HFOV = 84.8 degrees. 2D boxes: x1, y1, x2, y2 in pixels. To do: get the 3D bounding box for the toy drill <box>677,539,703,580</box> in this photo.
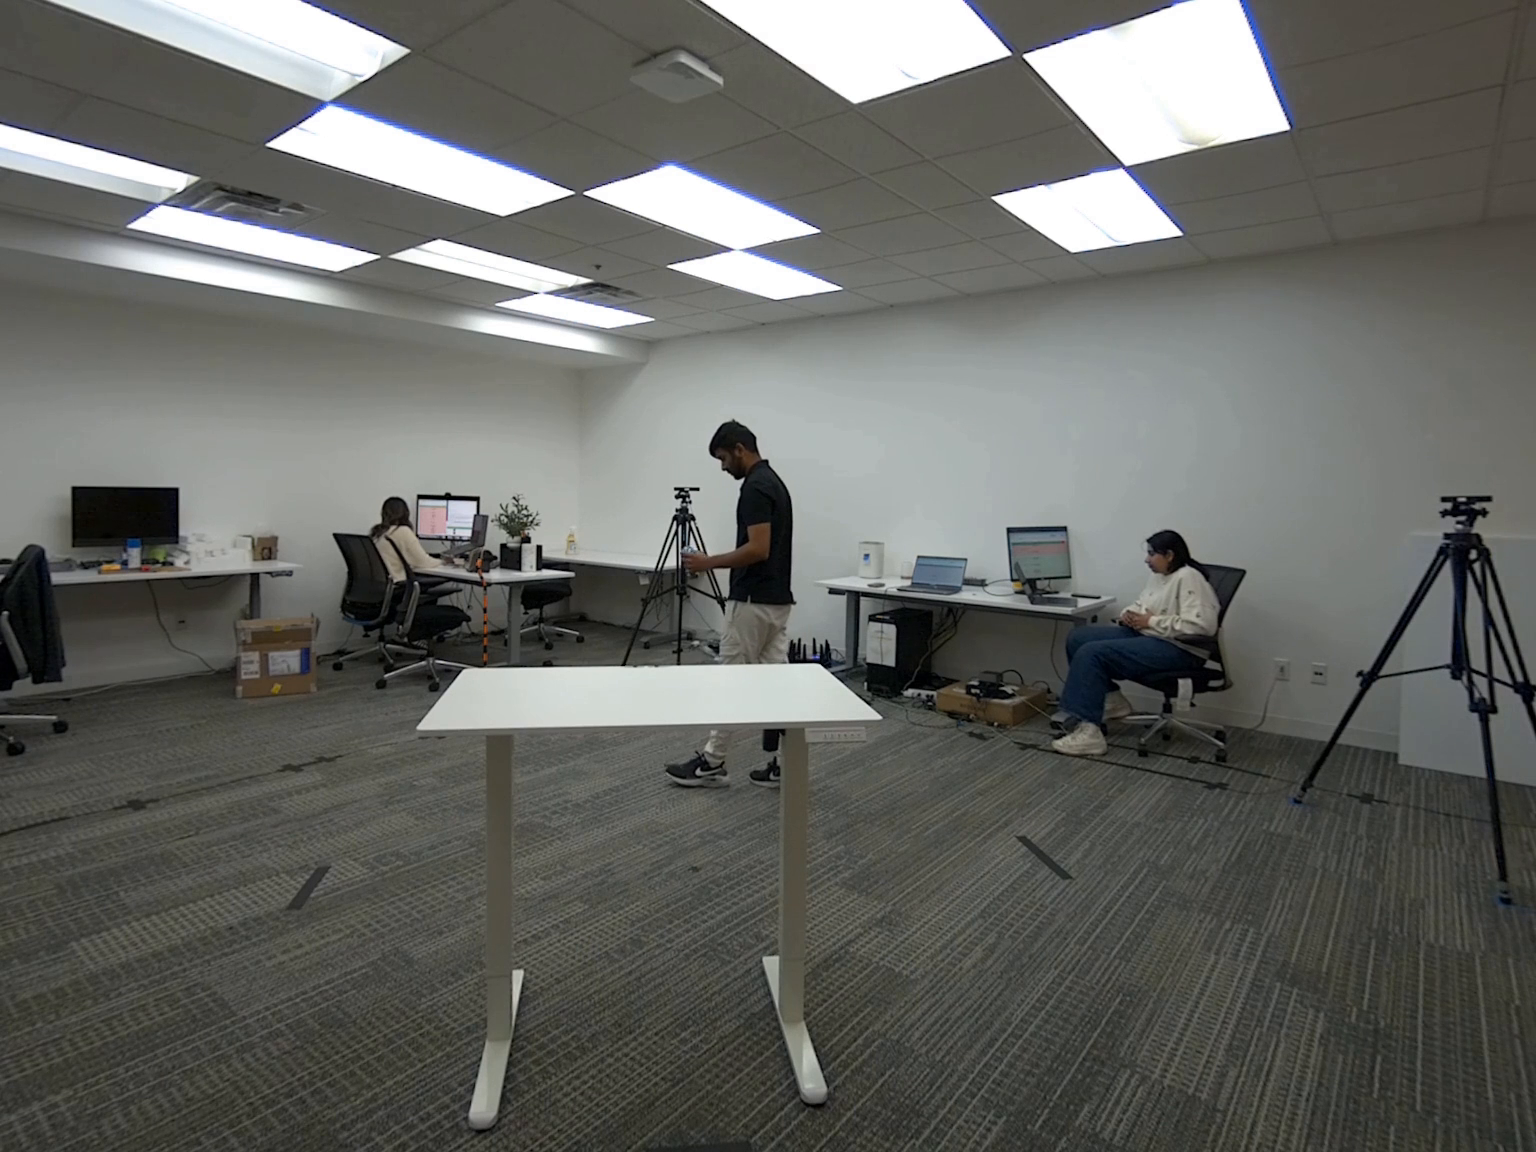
[{"bbox_3d":[-0.371,-0.082,3.966,0.061,0.143,0.174,-15,16,-10],"label":"toy drill"}]
